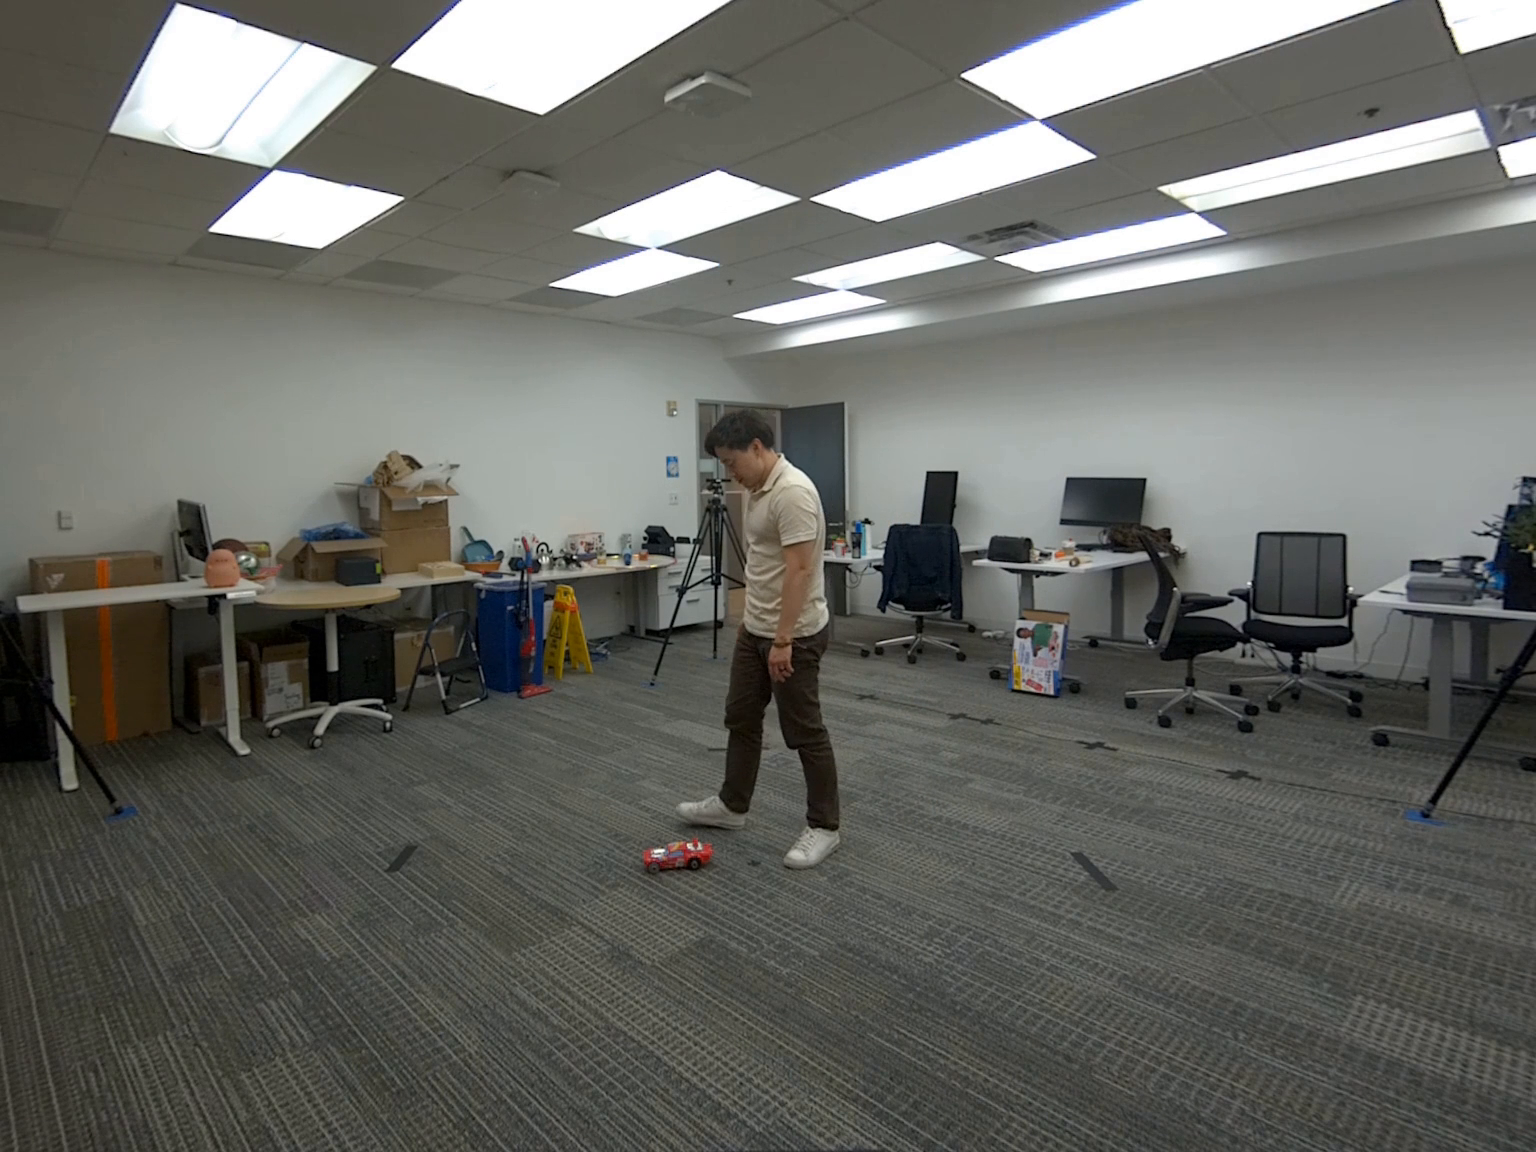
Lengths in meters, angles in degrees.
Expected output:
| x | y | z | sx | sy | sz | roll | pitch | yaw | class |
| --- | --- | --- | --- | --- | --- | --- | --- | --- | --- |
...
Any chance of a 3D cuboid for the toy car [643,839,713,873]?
| x | y | z | sx | sy | sz | roll | pitch | yaw | class |
| --- | --- | --- | --- | --- | --- | --- | --- | --- | --- |
| -0.324 | 1.016 | 3.098 | 0.253 | 0.083 | 0.132 | -12 | 6 | -7 | toy car |
